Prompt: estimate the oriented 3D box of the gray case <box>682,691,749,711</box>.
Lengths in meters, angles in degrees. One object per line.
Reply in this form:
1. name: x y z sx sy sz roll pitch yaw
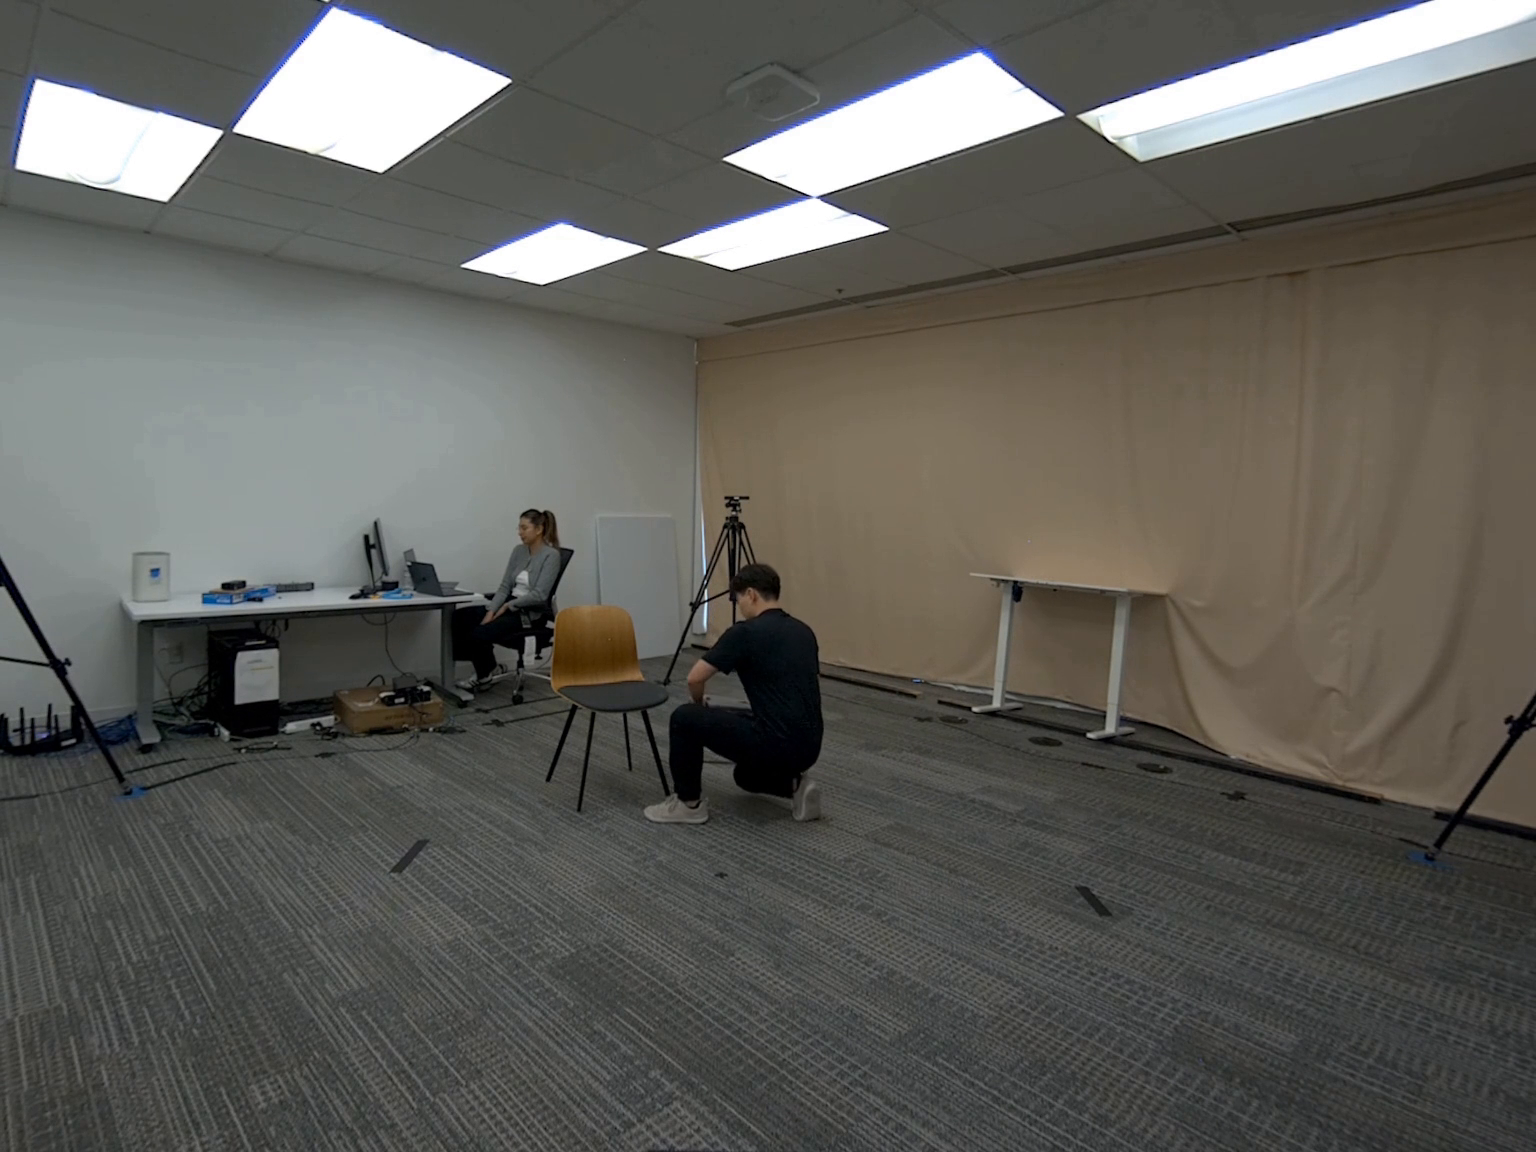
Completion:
1. gray case: -0.224 0.615 3.907 0.251 0.104 0.266 8 0 -31
